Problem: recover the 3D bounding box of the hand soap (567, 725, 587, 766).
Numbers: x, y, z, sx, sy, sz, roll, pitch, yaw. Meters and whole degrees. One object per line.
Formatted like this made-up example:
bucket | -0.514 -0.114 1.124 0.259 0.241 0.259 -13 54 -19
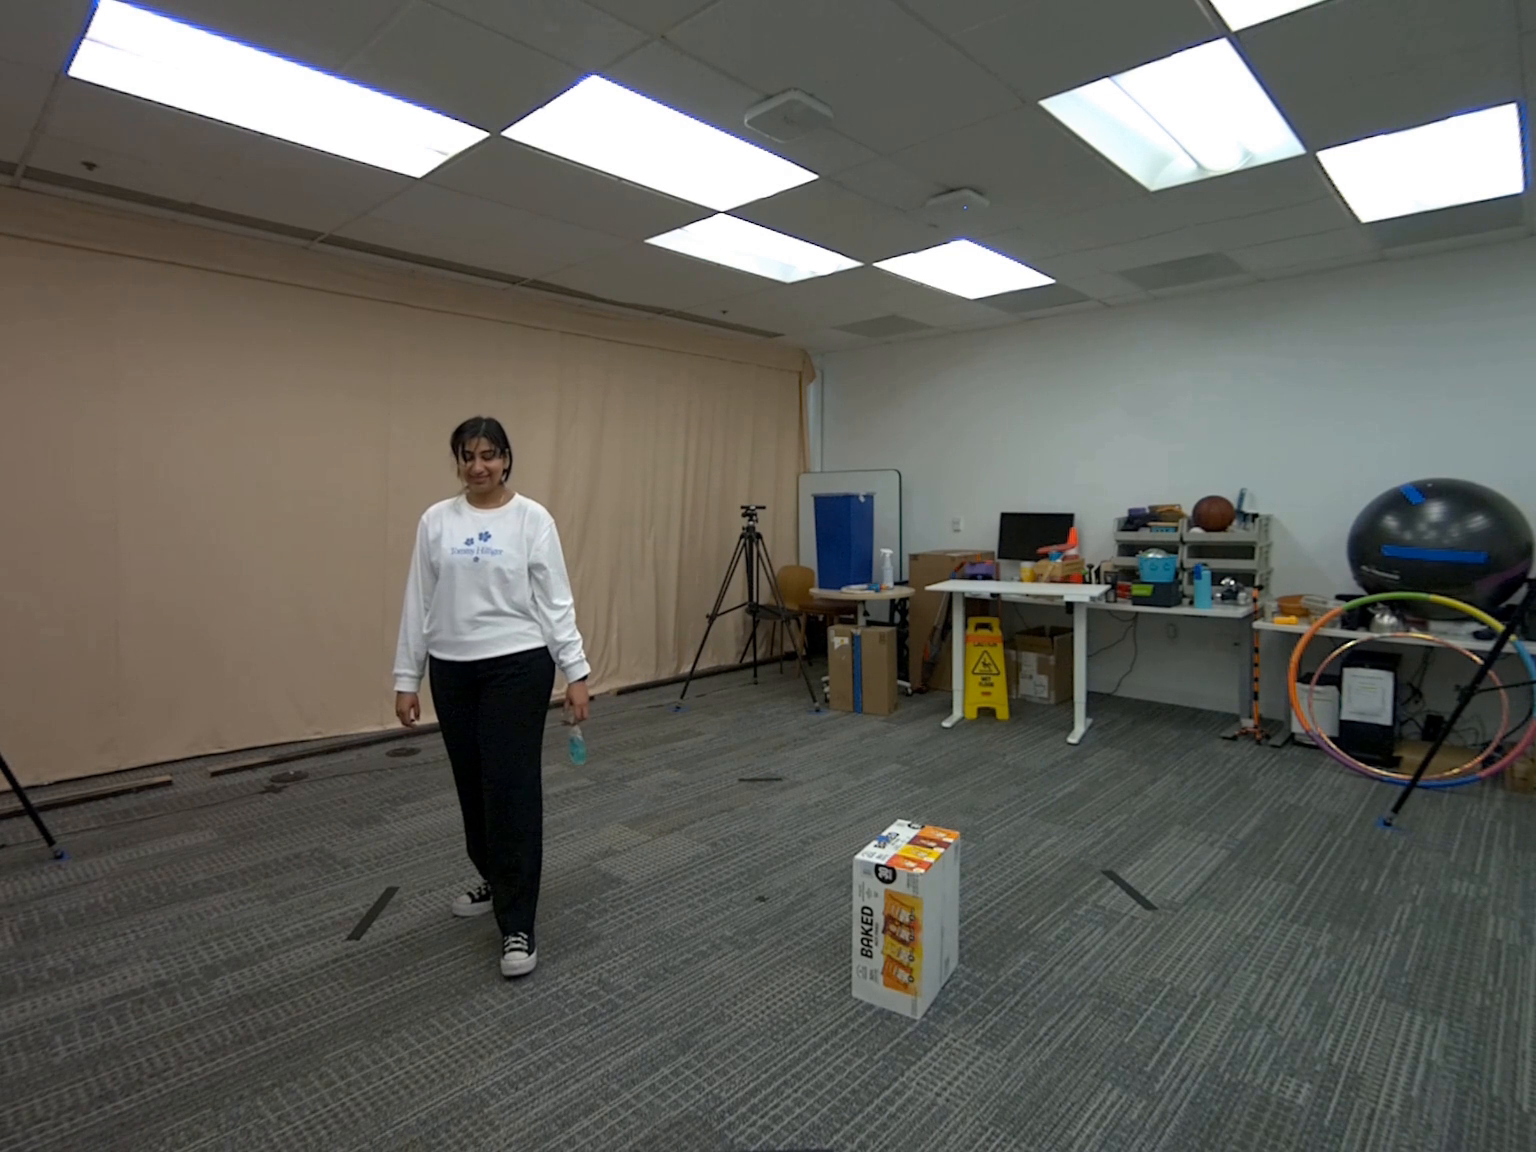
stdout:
hand soap | -0.638 0.541 2.773 0.042 0.166 0.088 -18 27 -40
